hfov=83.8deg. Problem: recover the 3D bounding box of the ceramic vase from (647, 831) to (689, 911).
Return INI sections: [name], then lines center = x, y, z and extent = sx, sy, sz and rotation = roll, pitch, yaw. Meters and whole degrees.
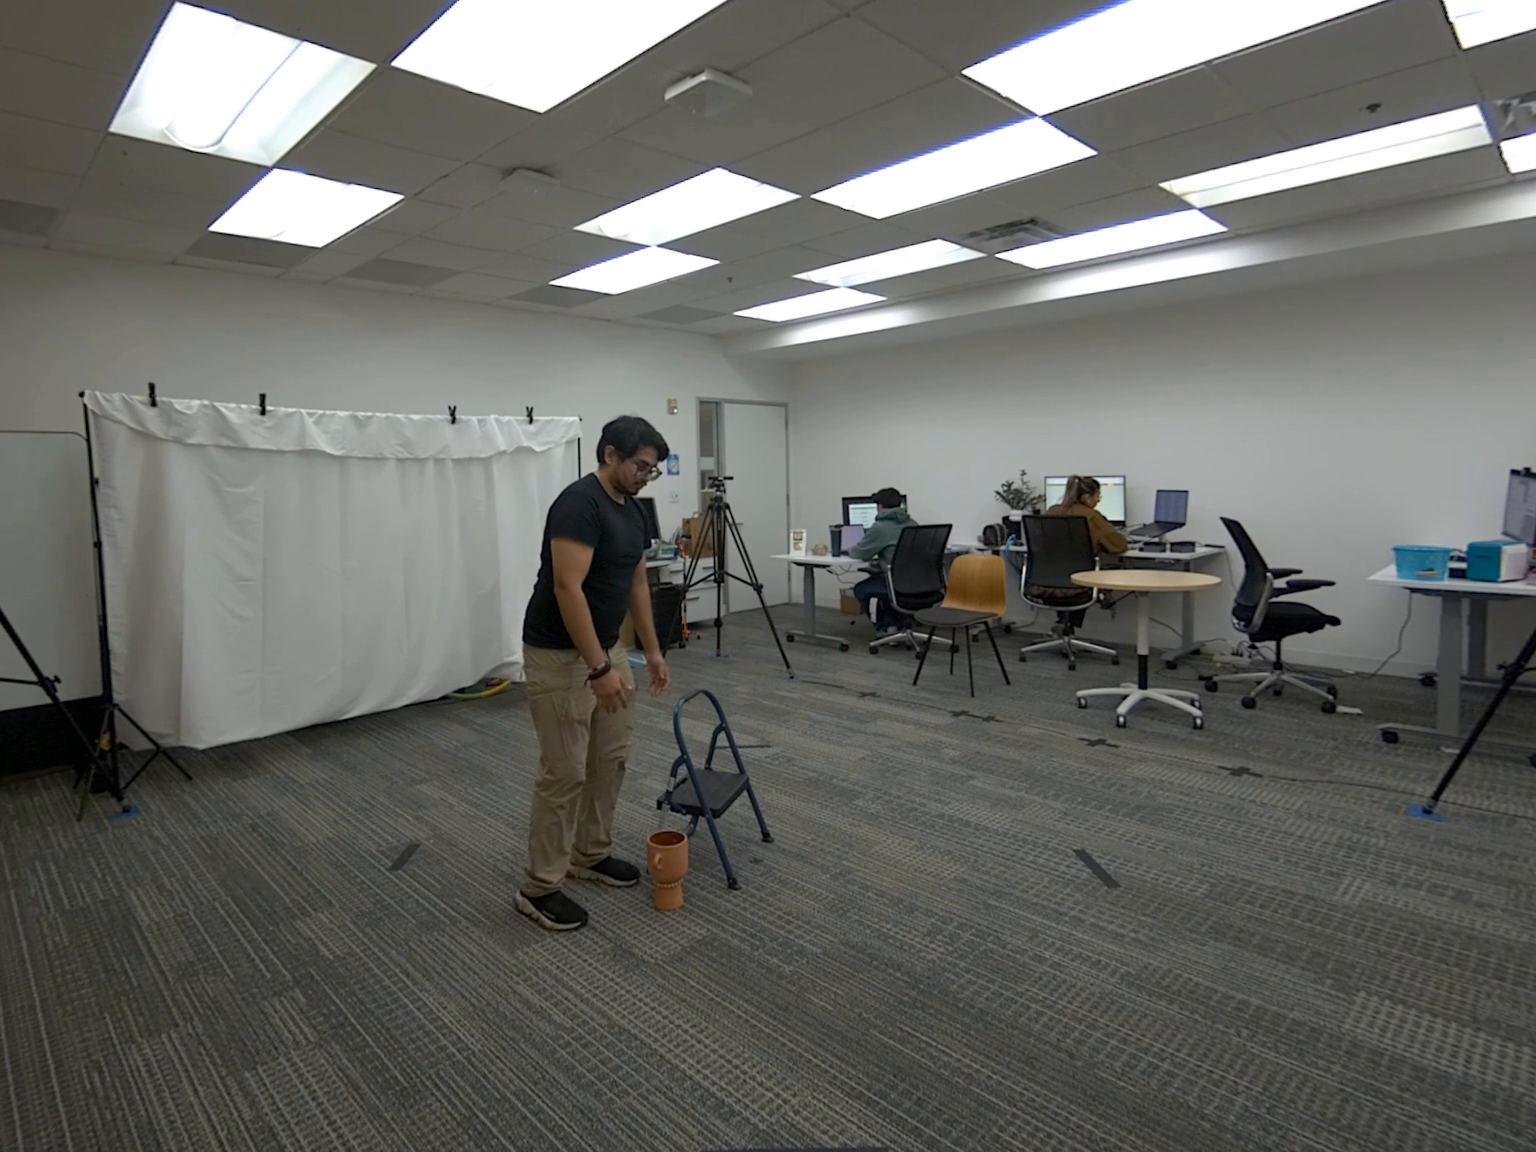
[ceramic vase]
center = -0.330, 0.971, 2.799
extent = 0.155, 0.219, 0.138
rotation = -3, 5, -29
